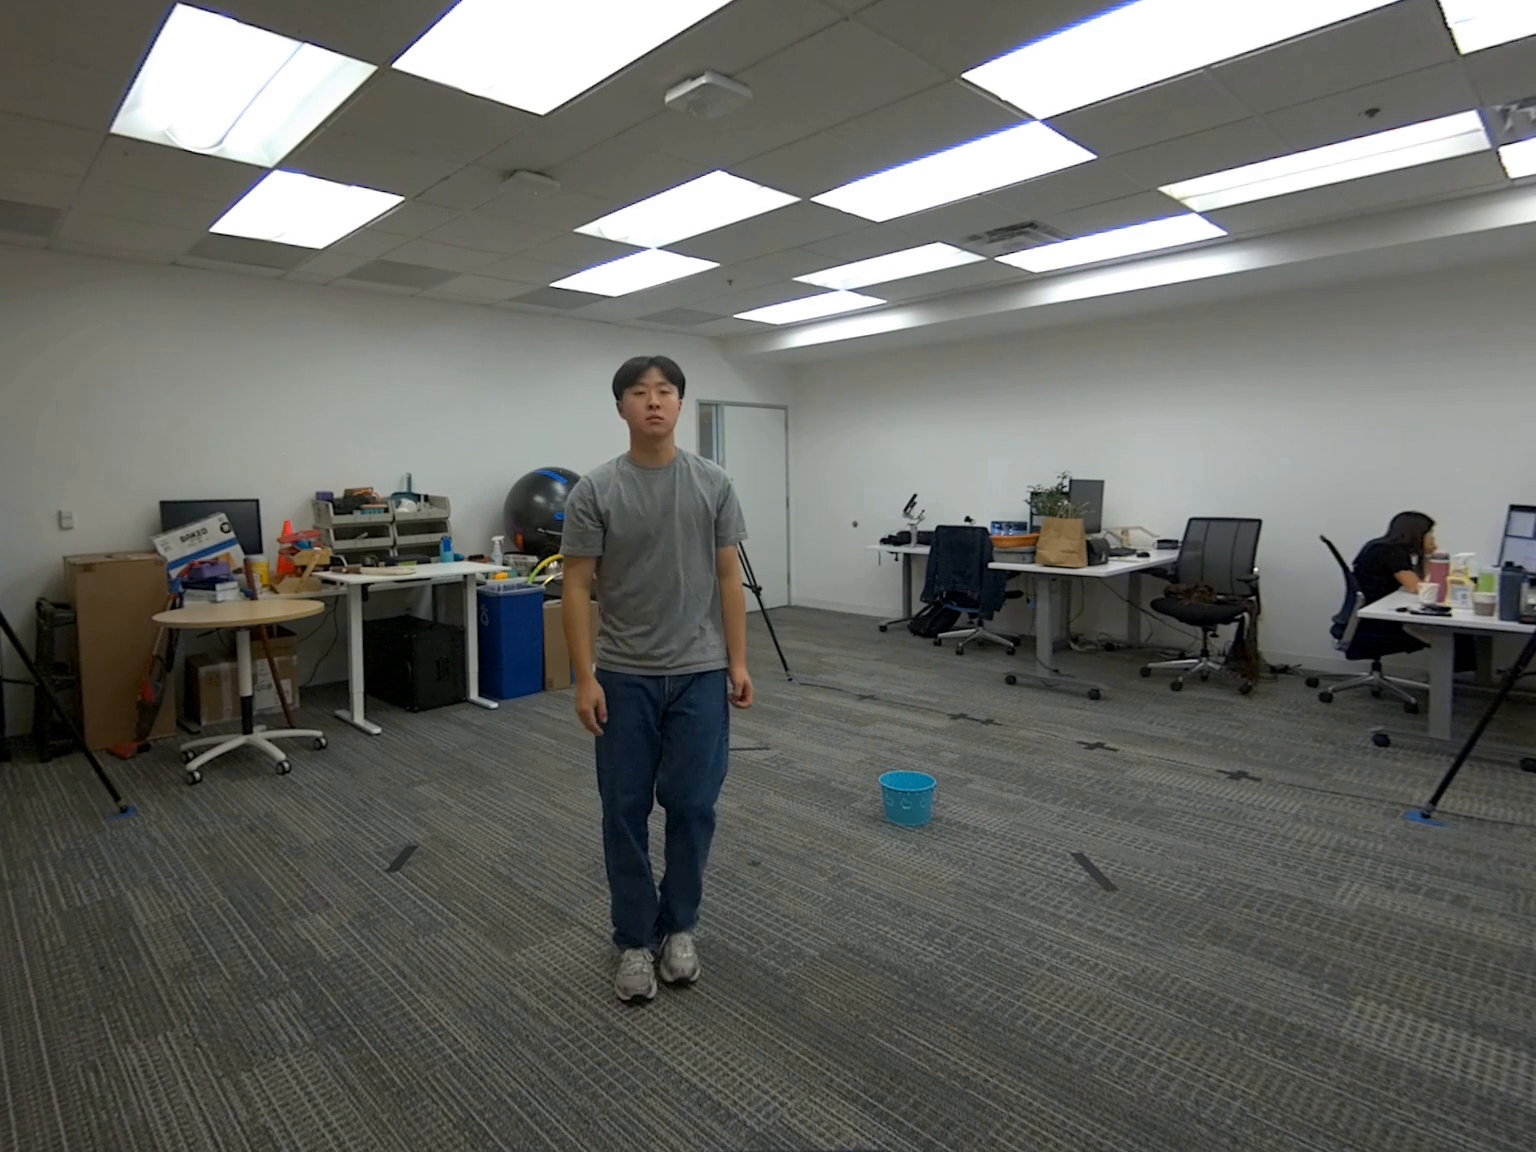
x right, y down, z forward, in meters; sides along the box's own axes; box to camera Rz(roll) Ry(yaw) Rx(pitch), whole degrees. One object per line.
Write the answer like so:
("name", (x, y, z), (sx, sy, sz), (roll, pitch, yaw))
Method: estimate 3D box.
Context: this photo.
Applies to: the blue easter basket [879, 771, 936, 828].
("blue easter basket", (0.580, 0.910, 3.511), (0.243, 0.155, 0.245), (-2, 5, -2))
